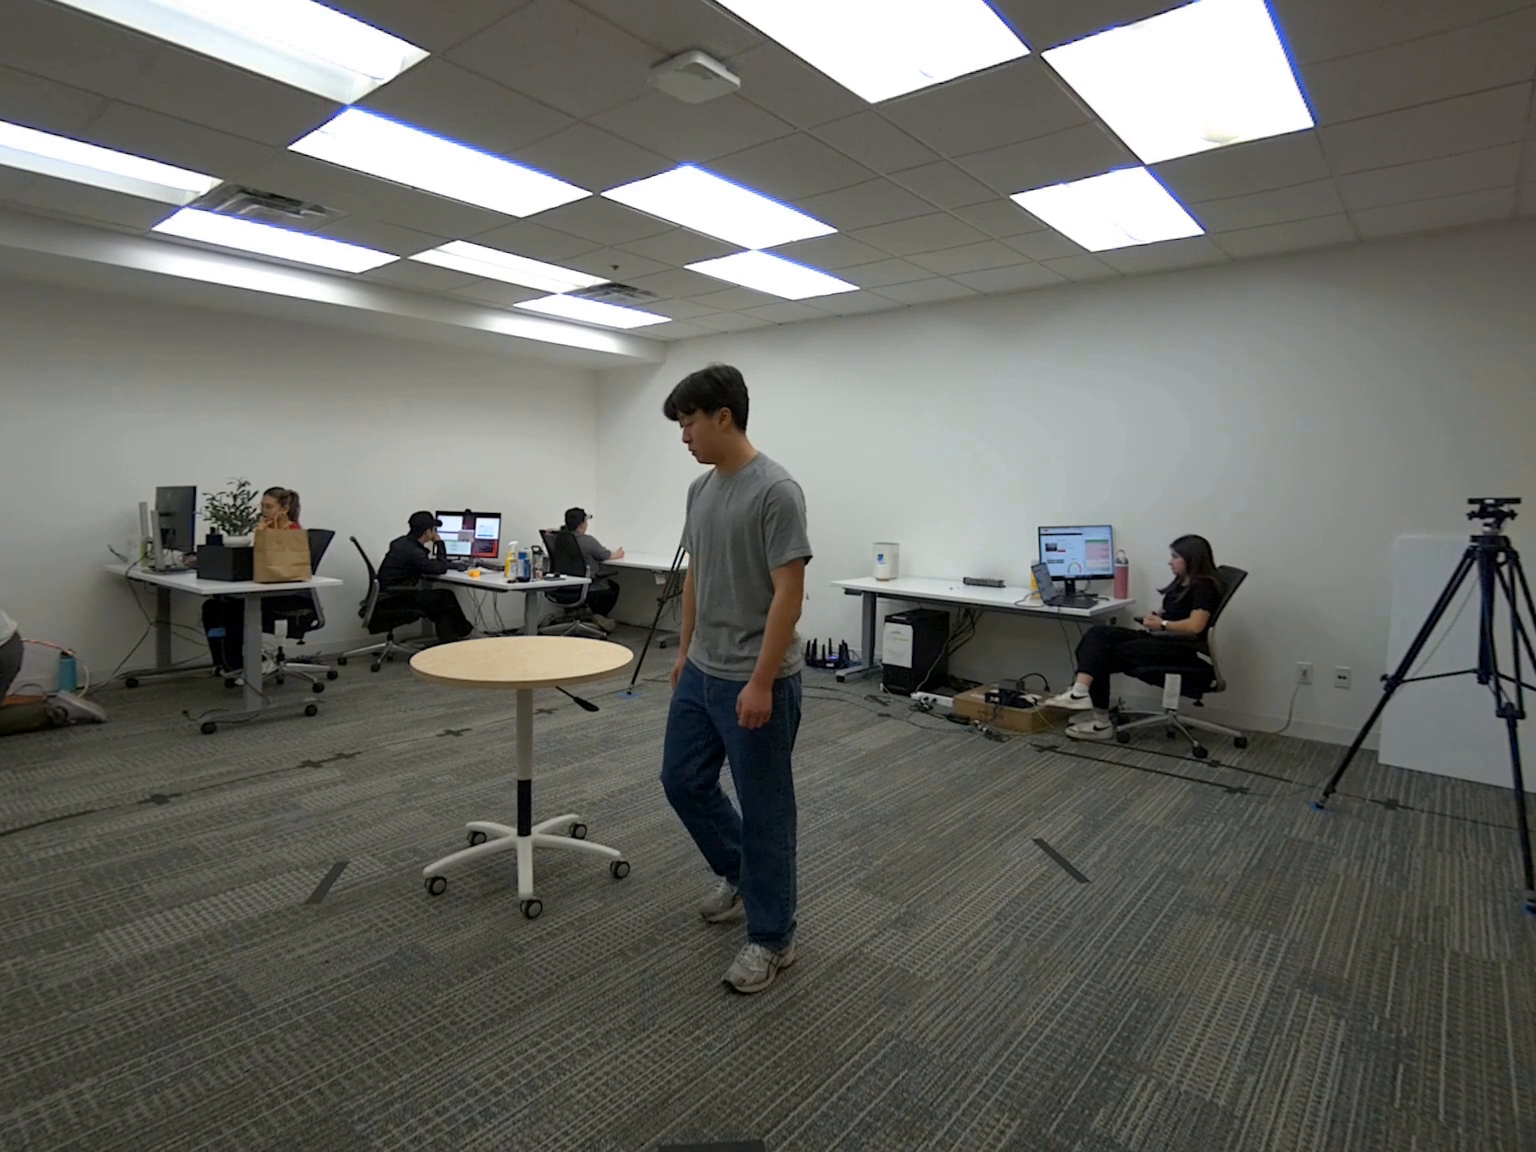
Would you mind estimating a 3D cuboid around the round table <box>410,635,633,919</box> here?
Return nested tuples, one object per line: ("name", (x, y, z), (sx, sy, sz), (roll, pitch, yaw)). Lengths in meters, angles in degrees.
("round table", (-0.878, 0.675, 3.028), (0.763, 0.791, 0.768), (1, 4, -2))
